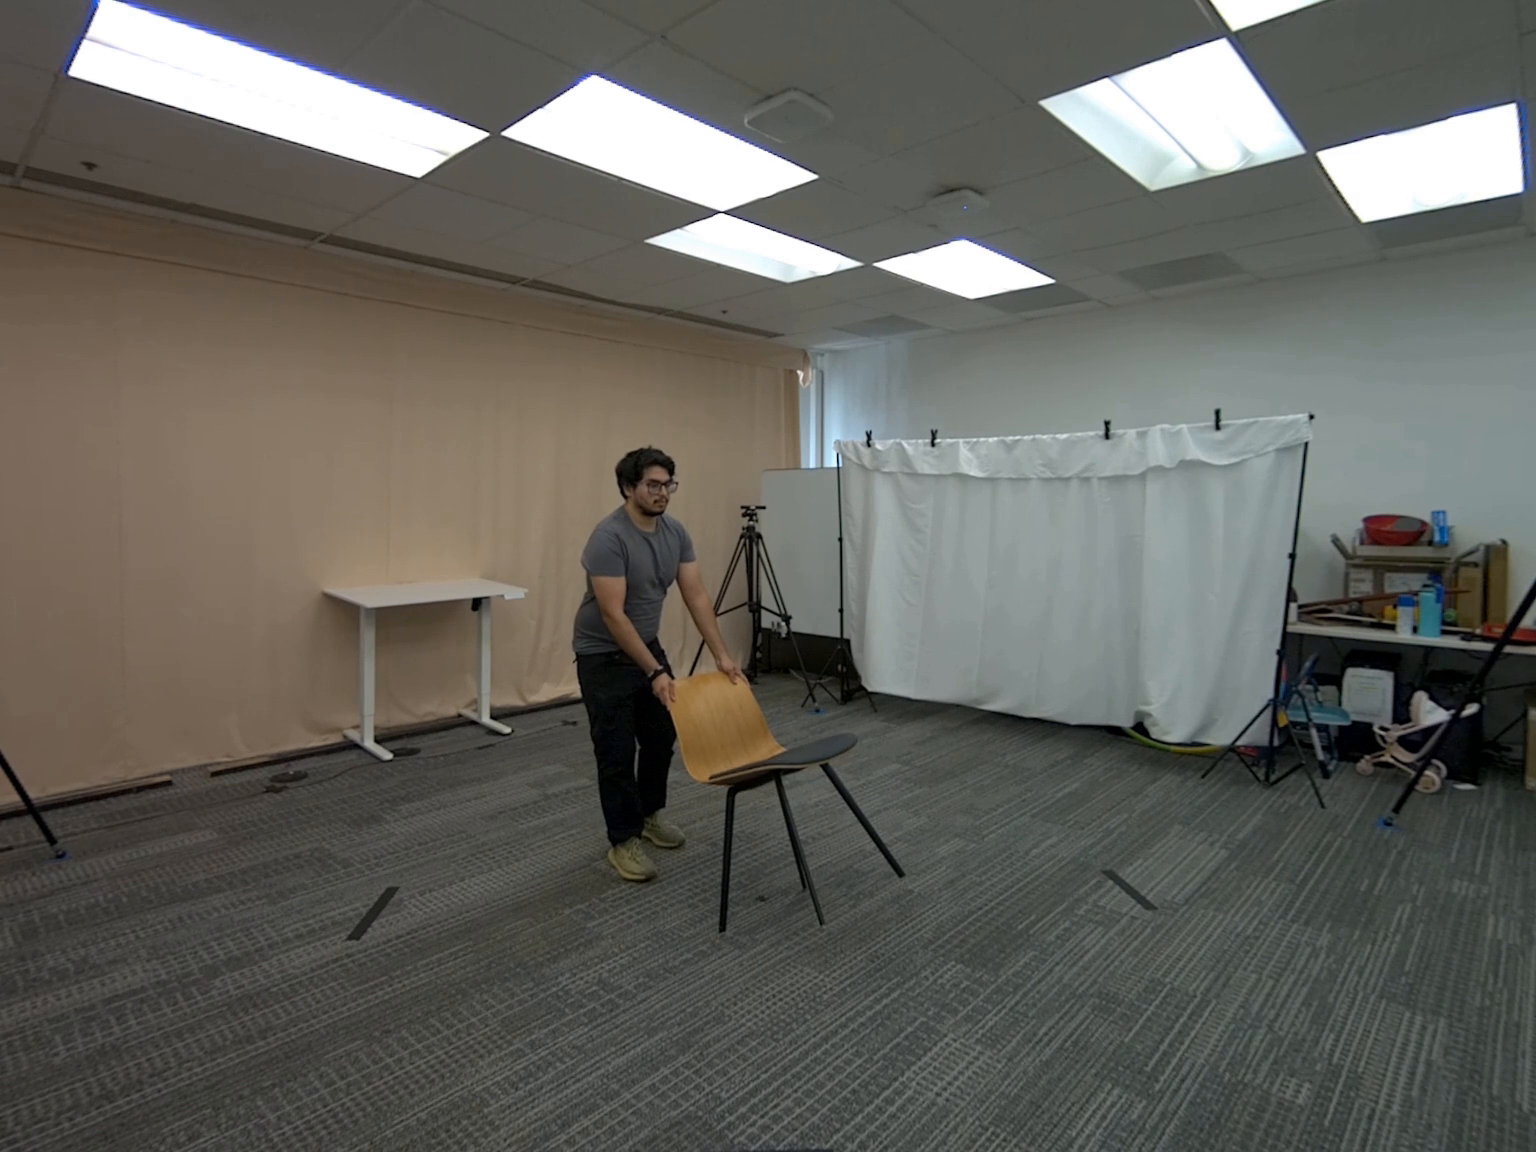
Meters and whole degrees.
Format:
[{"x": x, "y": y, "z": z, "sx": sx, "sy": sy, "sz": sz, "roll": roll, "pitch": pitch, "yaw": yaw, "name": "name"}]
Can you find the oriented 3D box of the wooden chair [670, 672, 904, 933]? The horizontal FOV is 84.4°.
[{"x": 0.034, "y": 0.669, "z": 2.836, "sx": 0.463, "sy": 0.890, "sz": 0.532, "roll": -3, "pitch": -23, "yaw": -47, "name": "wooden chair"}]
